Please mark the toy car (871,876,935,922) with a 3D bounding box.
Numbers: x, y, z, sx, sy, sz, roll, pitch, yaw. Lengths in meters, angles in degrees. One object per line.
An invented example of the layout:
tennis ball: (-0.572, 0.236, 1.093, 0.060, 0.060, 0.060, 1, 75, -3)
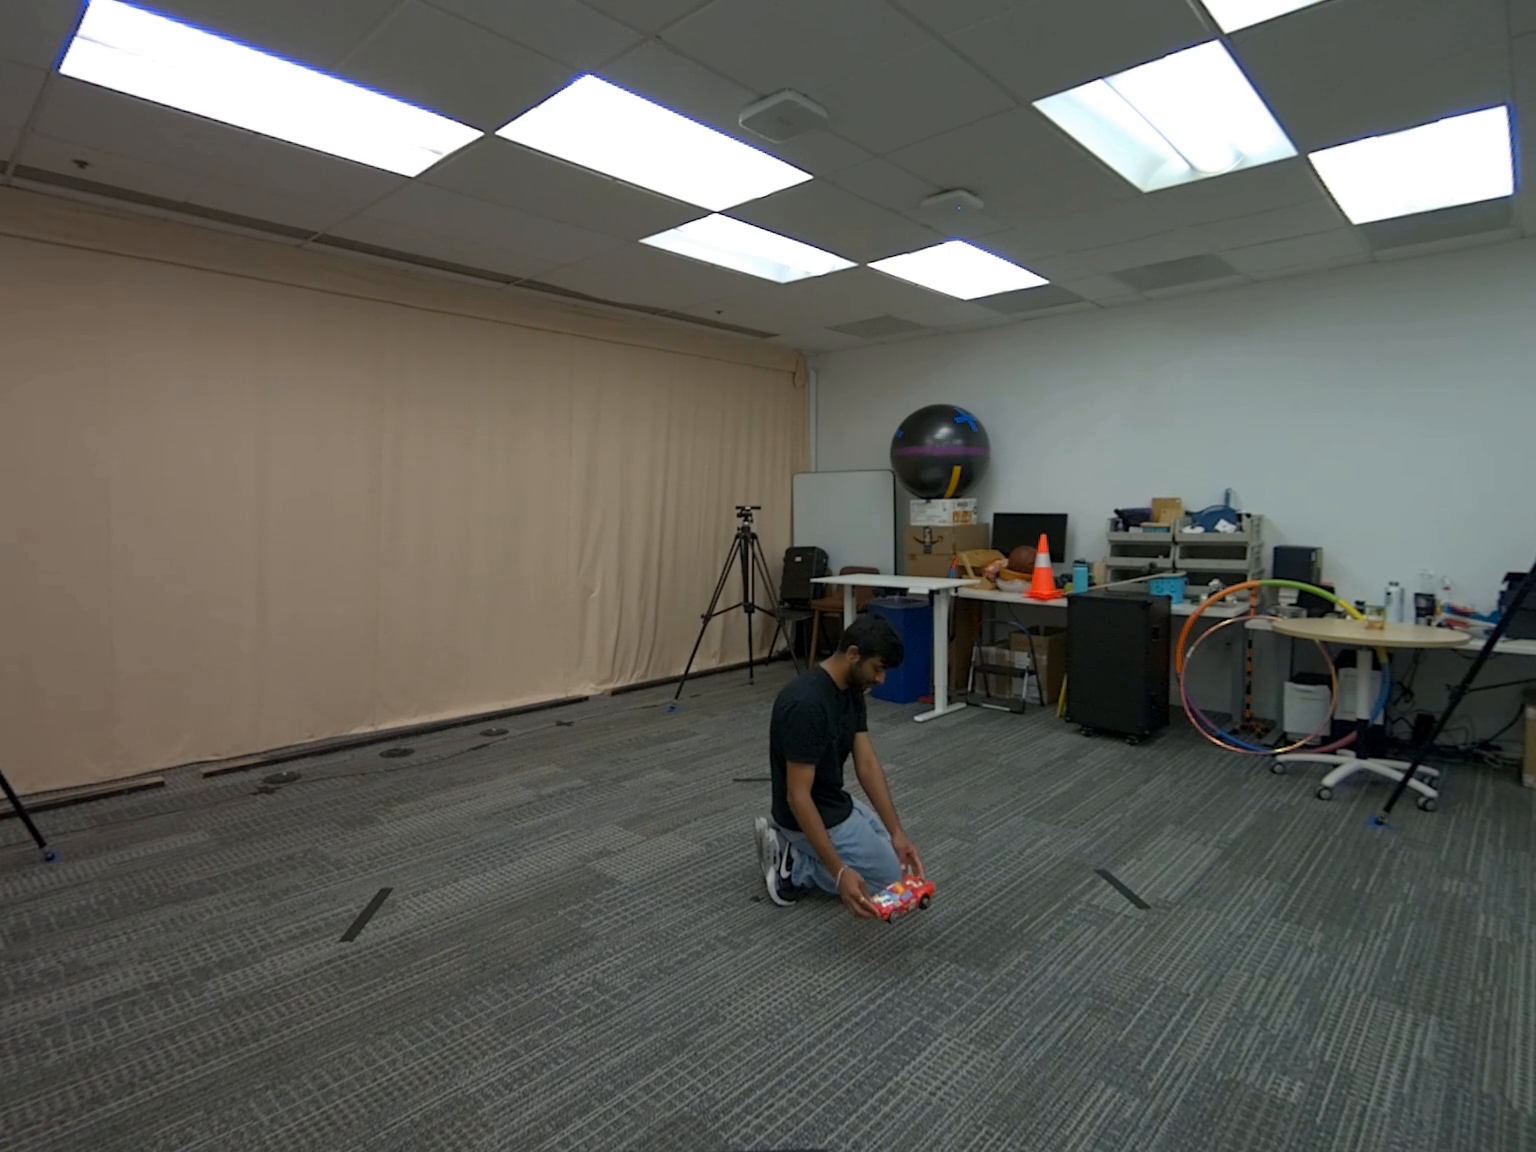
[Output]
toy car: (0.410, 0.994, 2.594, 0.248, 0.083, 0.134, -17, 9, -37)
